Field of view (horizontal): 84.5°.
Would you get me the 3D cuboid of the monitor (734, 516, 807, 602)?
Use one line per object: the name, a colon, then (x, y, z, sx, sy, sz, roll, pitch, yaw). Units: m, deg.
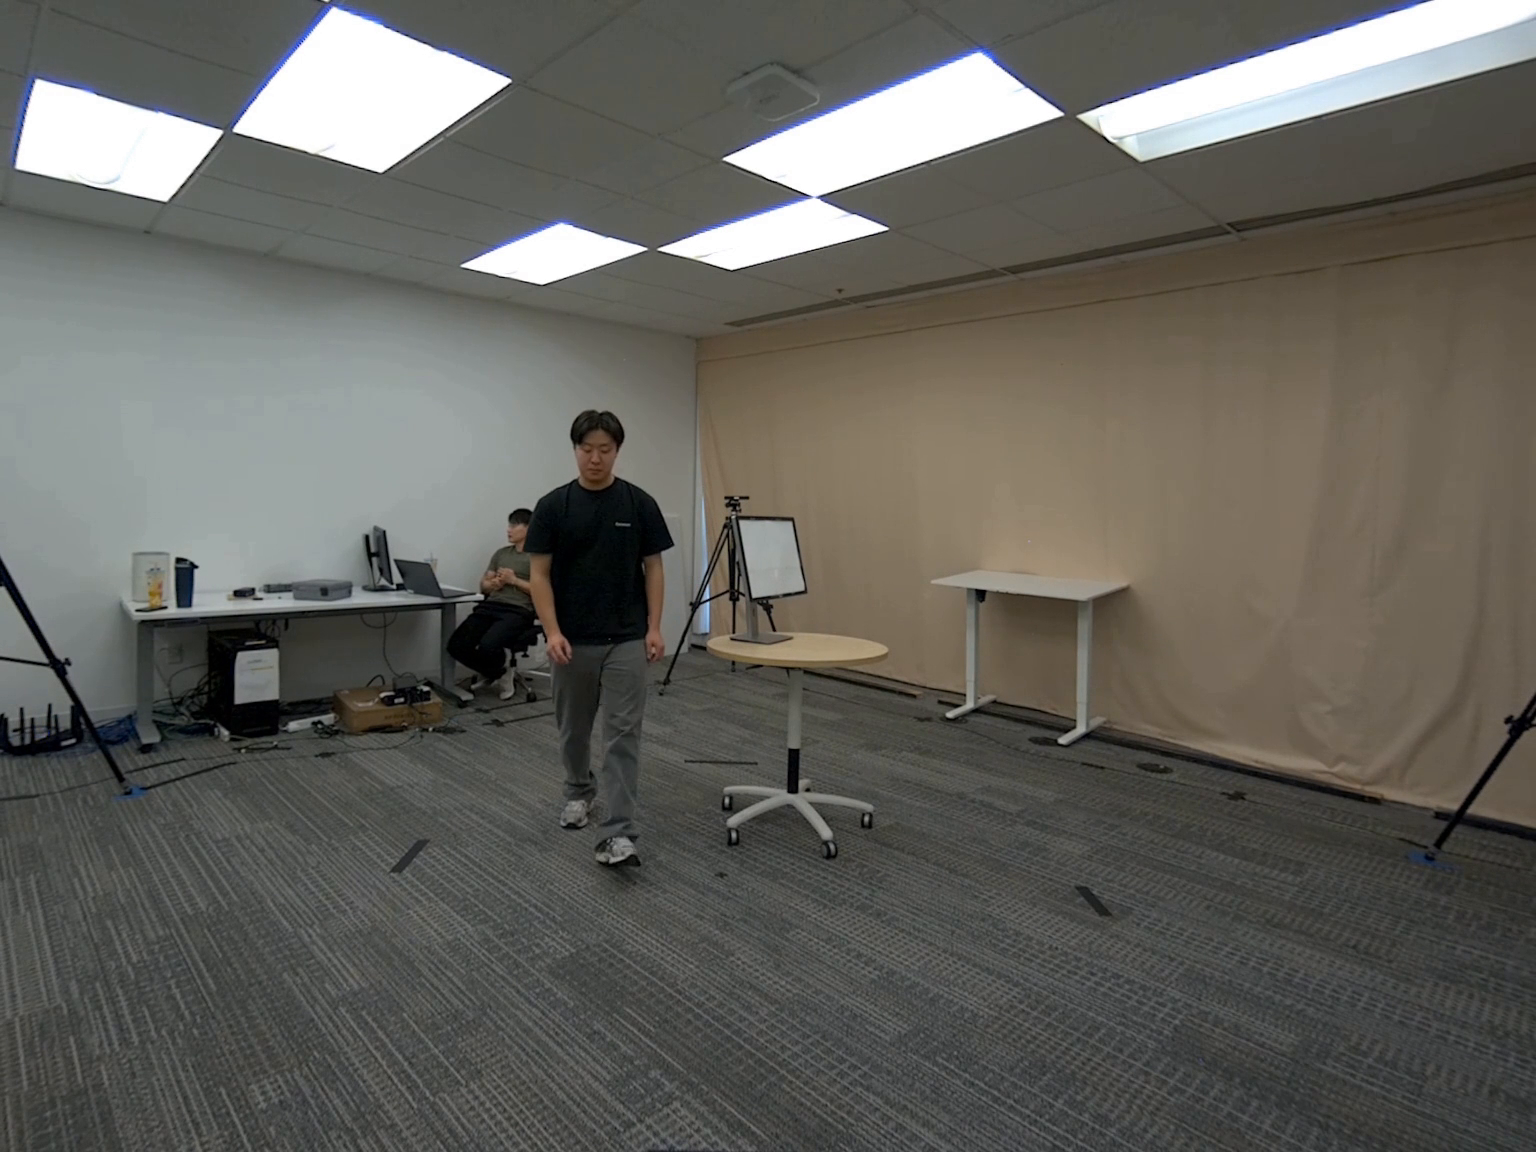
monitor: (-0.020, 0.020, 3.710, 0.227, 0.564, 0.550, 5, 5, 30)
